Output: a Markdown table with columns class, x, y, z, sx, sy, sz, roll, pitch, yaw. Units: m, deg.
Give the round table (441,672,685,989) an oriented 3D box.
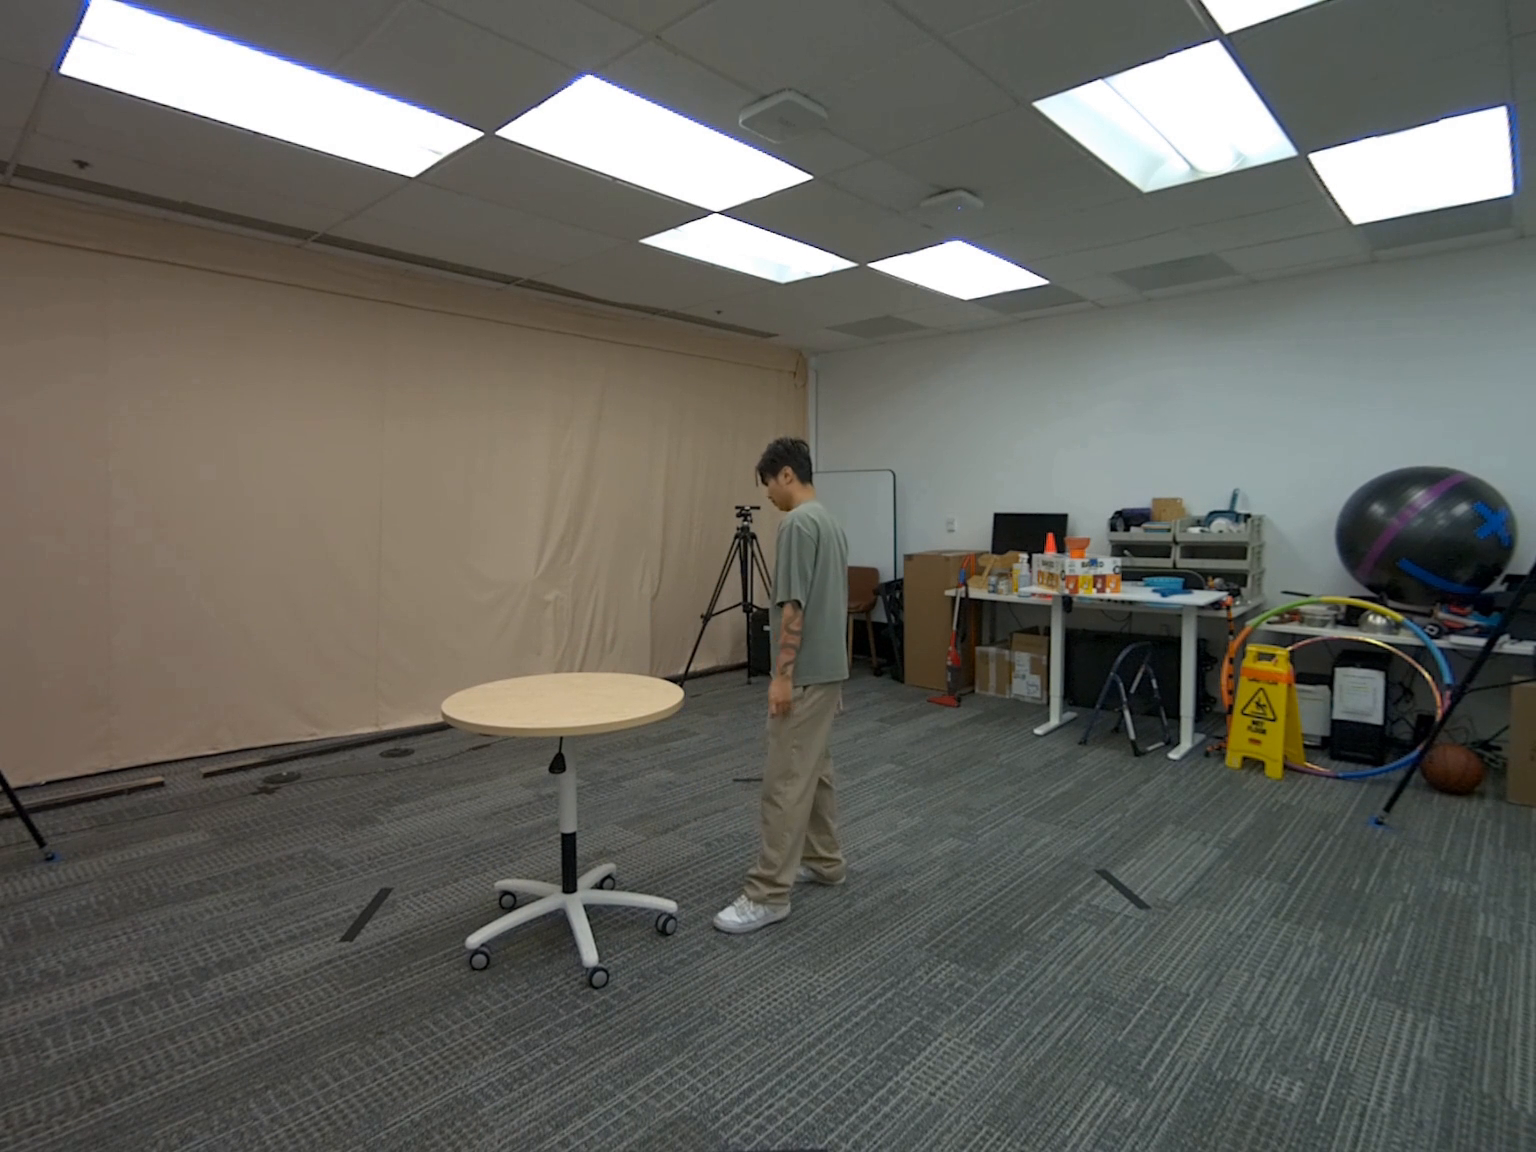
| class | x | y | z | sx | sy | sz | roll | pitch | yaw |
| --- | --- | --- | --- | --- | --- | --- | --- | --- | --- |
| round table | -0.655 | 0.778 | 2.744 | 0.784 | 0.785 | 0.788 | 0 | 4 | -2 |
